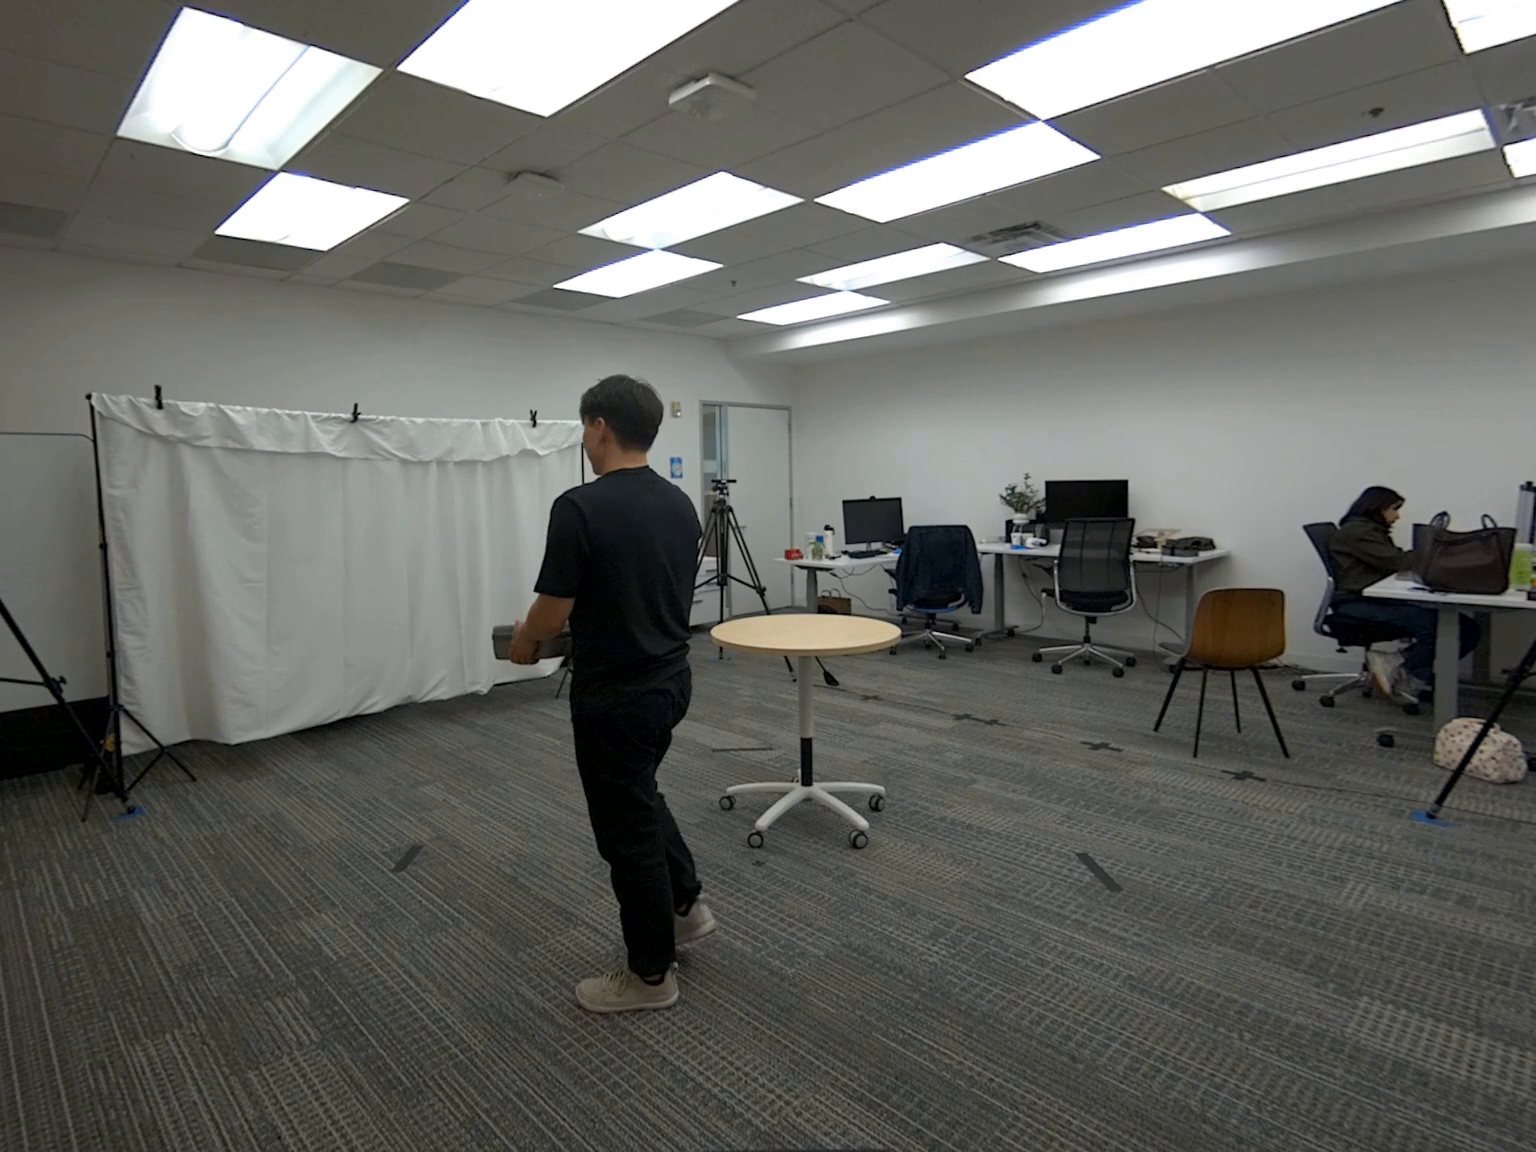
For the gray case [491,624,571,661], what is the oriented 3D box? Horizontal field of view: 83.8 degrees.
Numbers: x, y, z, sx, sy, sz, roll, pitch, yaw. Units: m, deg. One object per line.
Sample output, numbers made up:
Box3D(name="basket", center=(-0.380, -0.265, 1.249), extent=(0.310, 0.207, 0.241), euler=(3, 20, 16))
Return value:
Box3D(name="gray case", center=(-0.622, 0.182, 2.470), extent=(0.267, 0.104, 0.250), euler=(-3, -1, 38))
